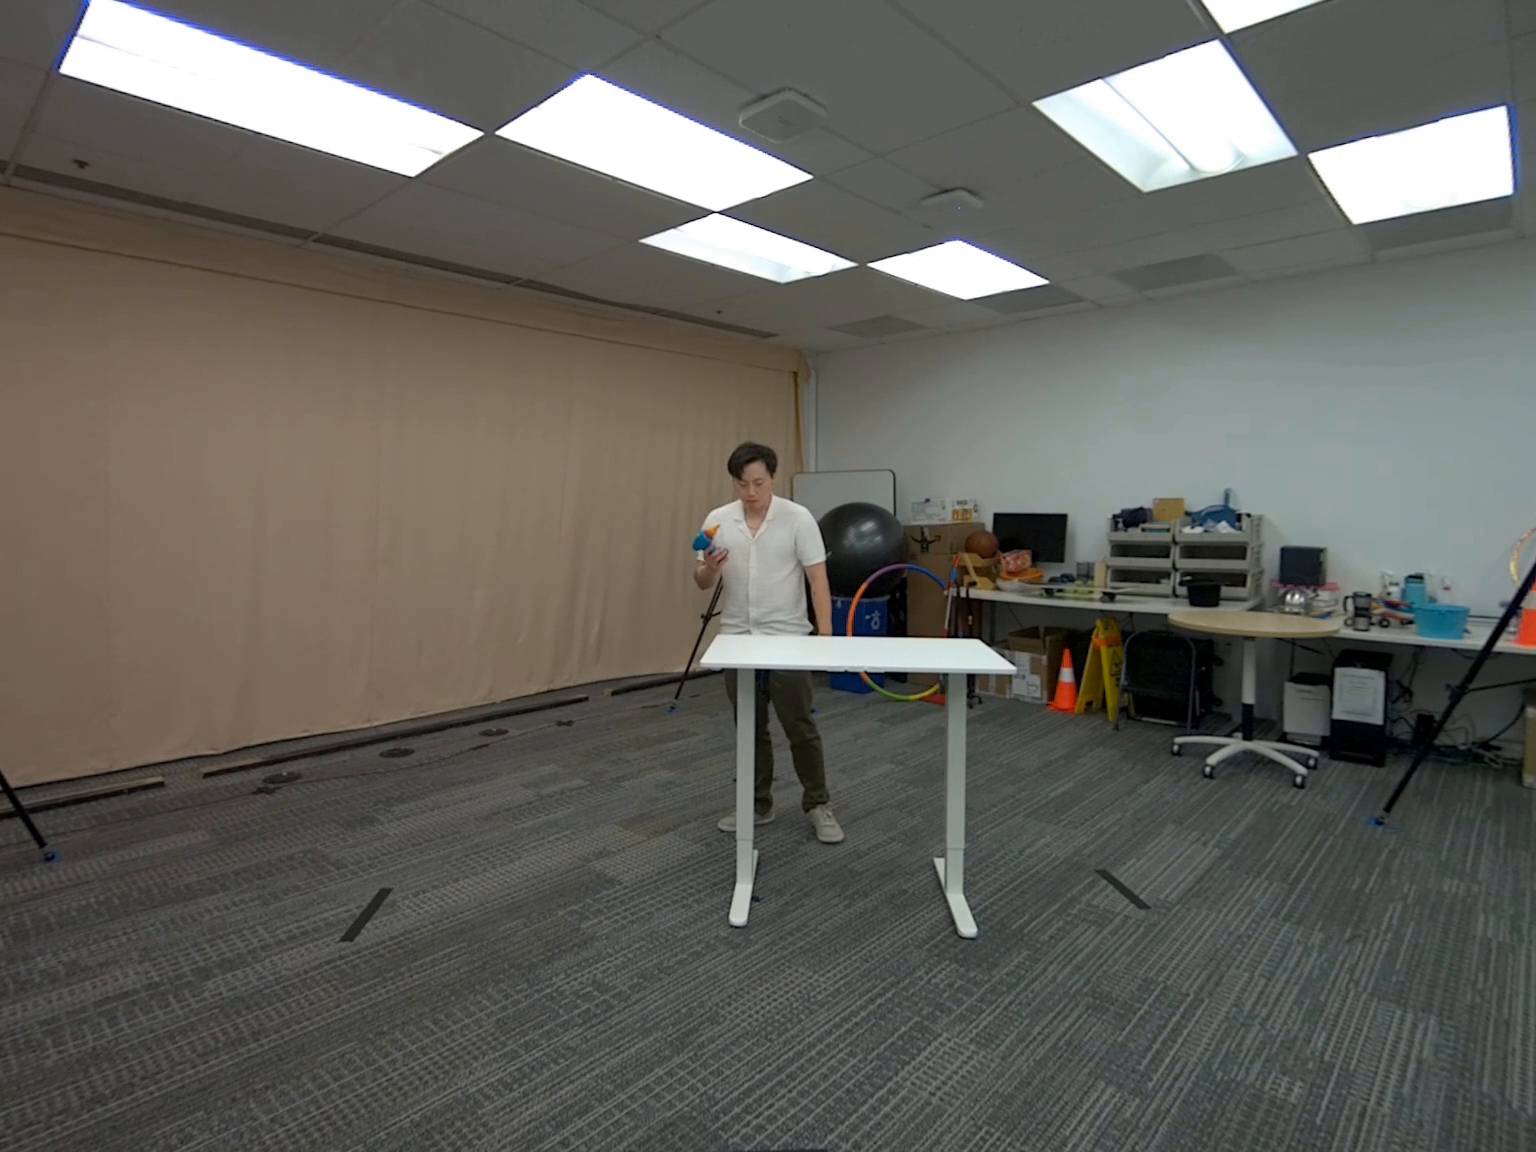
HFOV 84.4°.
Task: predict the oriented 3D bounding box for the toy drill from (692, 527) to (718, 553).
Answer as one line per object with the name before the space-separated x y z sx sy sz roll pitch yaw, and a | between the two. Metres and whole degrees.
toy drill | -0.214 -0.136 3.348 0.142 0.062 0.171 33 -55 -21
